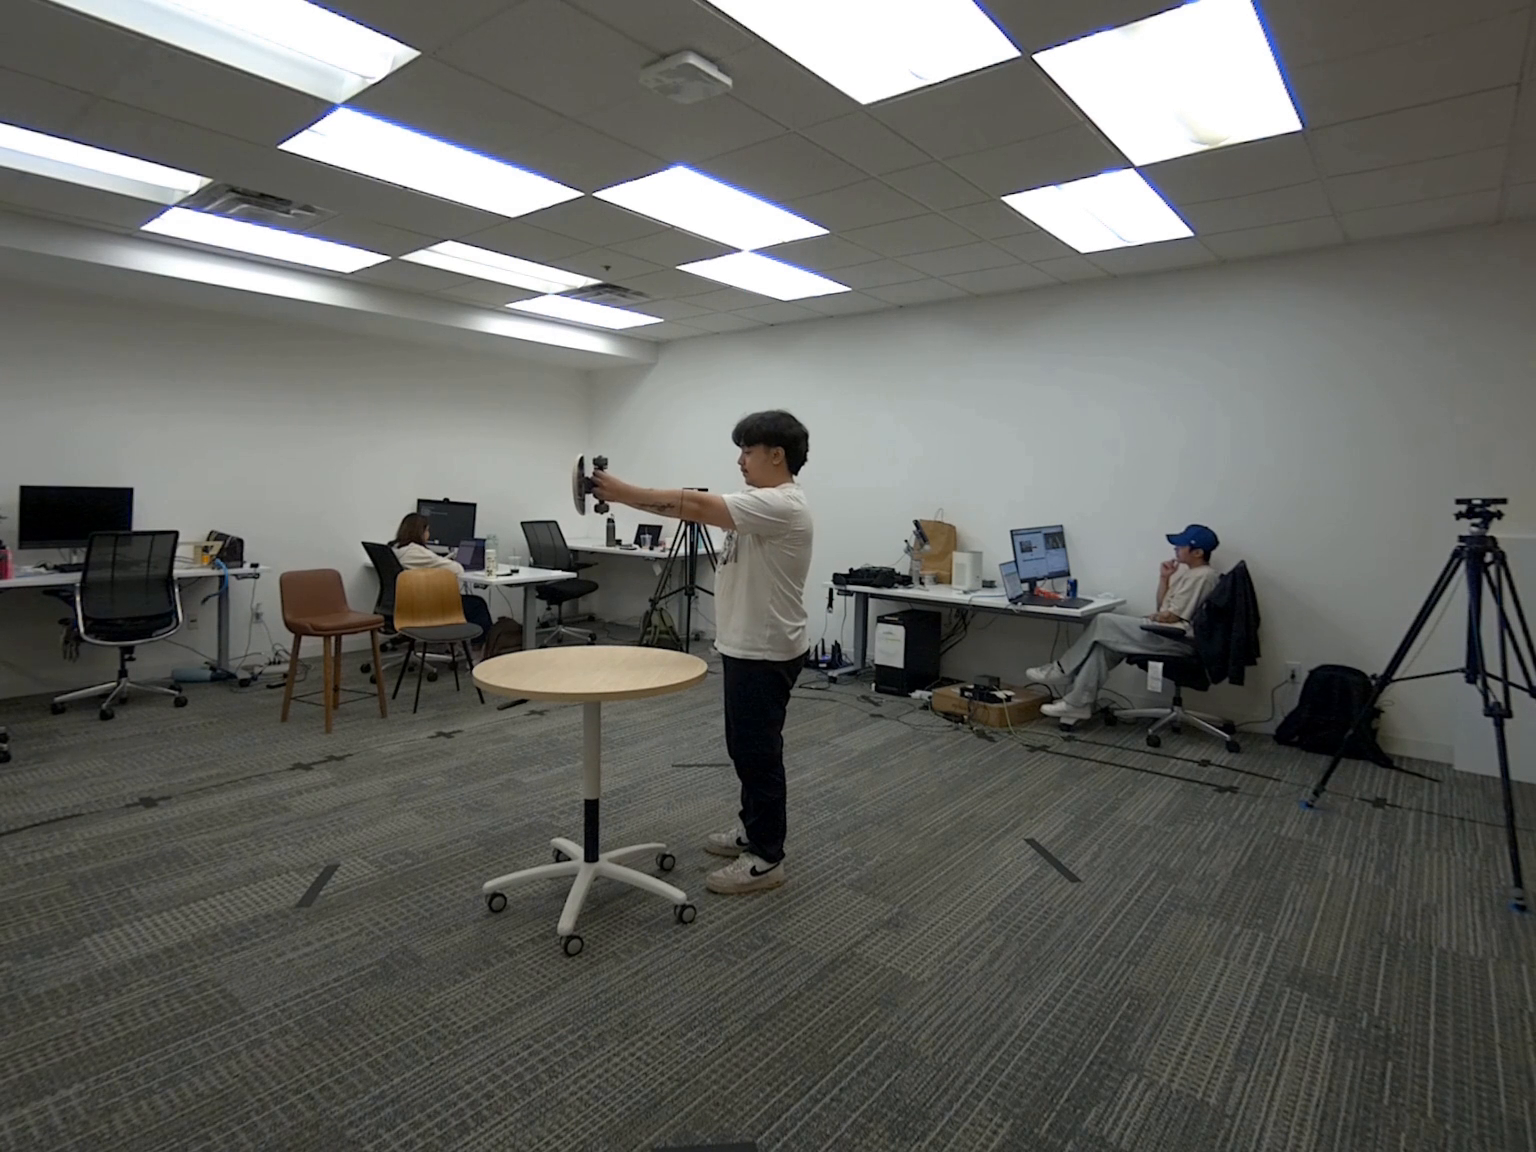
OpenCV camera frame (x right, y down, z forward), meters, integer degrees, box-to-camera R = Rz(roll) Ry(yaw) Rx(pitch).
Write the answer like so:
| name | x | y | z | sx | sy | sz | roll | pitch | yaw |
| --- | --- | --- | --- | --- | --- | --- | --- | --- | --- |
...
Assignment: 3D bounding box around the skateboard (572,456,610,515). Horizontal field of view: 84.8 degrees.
| name | x | y | z | sx | sy | sz | roll | pitch | yaw |
| --- | --- | --- | --- | --- | --- | --- | --- | --- | --- |
| skateboard | -0.627 | -0.317 | 2.965 | 0.109 | 0.192 | 0.796 | -4 | 6 | -11 |
